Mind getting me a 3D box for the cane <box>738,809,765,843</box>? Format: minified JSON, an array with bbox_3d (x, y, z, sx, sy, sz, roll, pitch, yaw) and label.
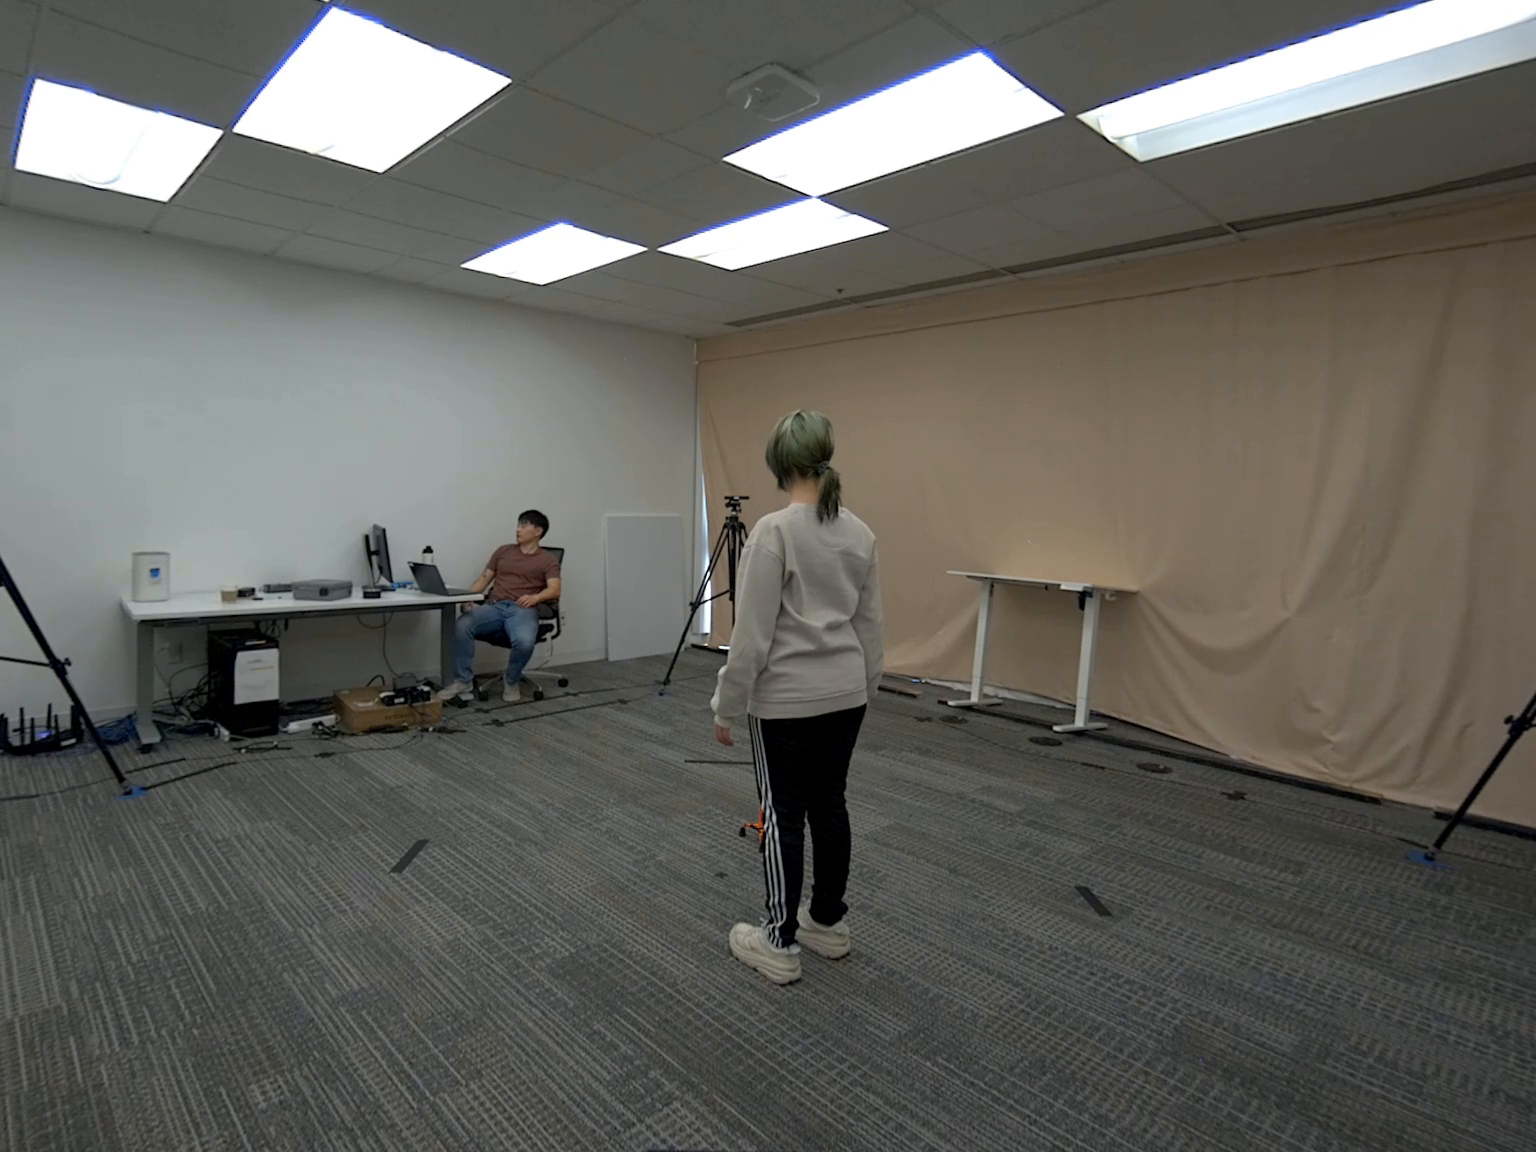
[{"bbox_3d":[-0.004,0.630,3.402,0.149,0.906,0.211,0,3,-26],"label":"cane"}]
